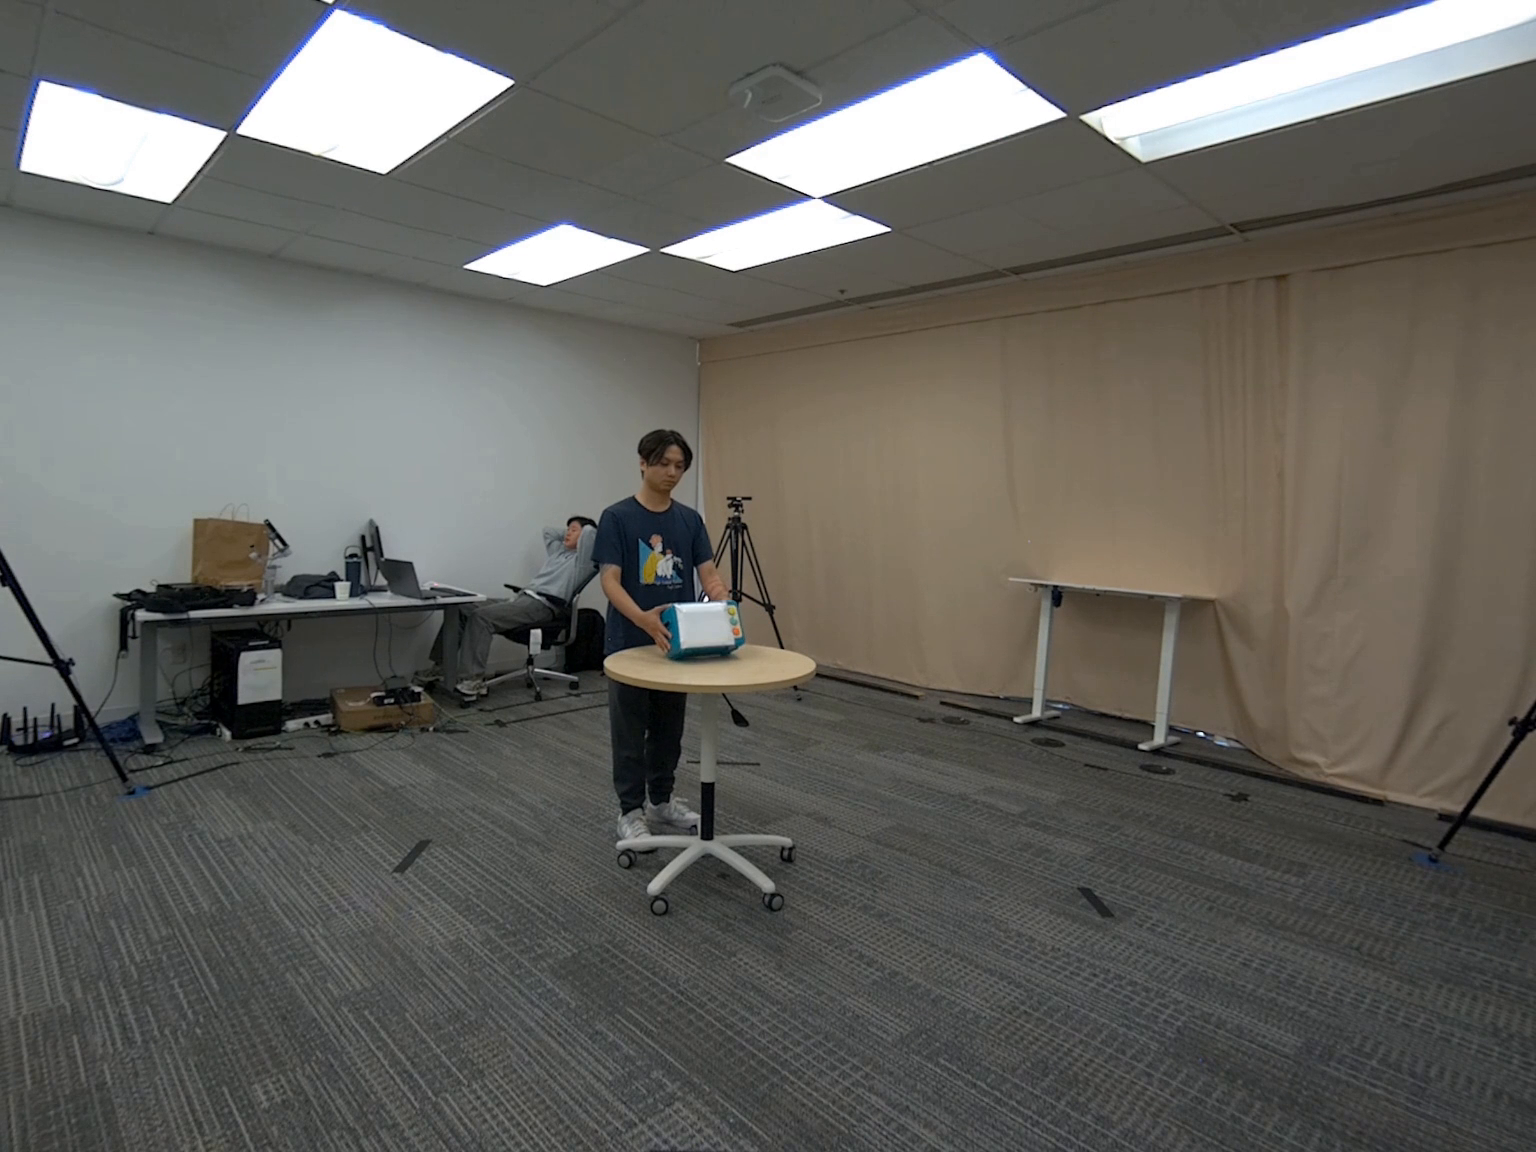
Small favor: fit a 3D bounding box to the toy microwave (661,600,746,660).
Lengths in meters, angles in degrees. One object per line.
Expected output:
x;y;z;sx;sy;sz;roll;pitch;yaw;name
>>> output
-0.251;0.195;3.106;0.281;0.187;0.152;-1;-22;-27;toy microwave
